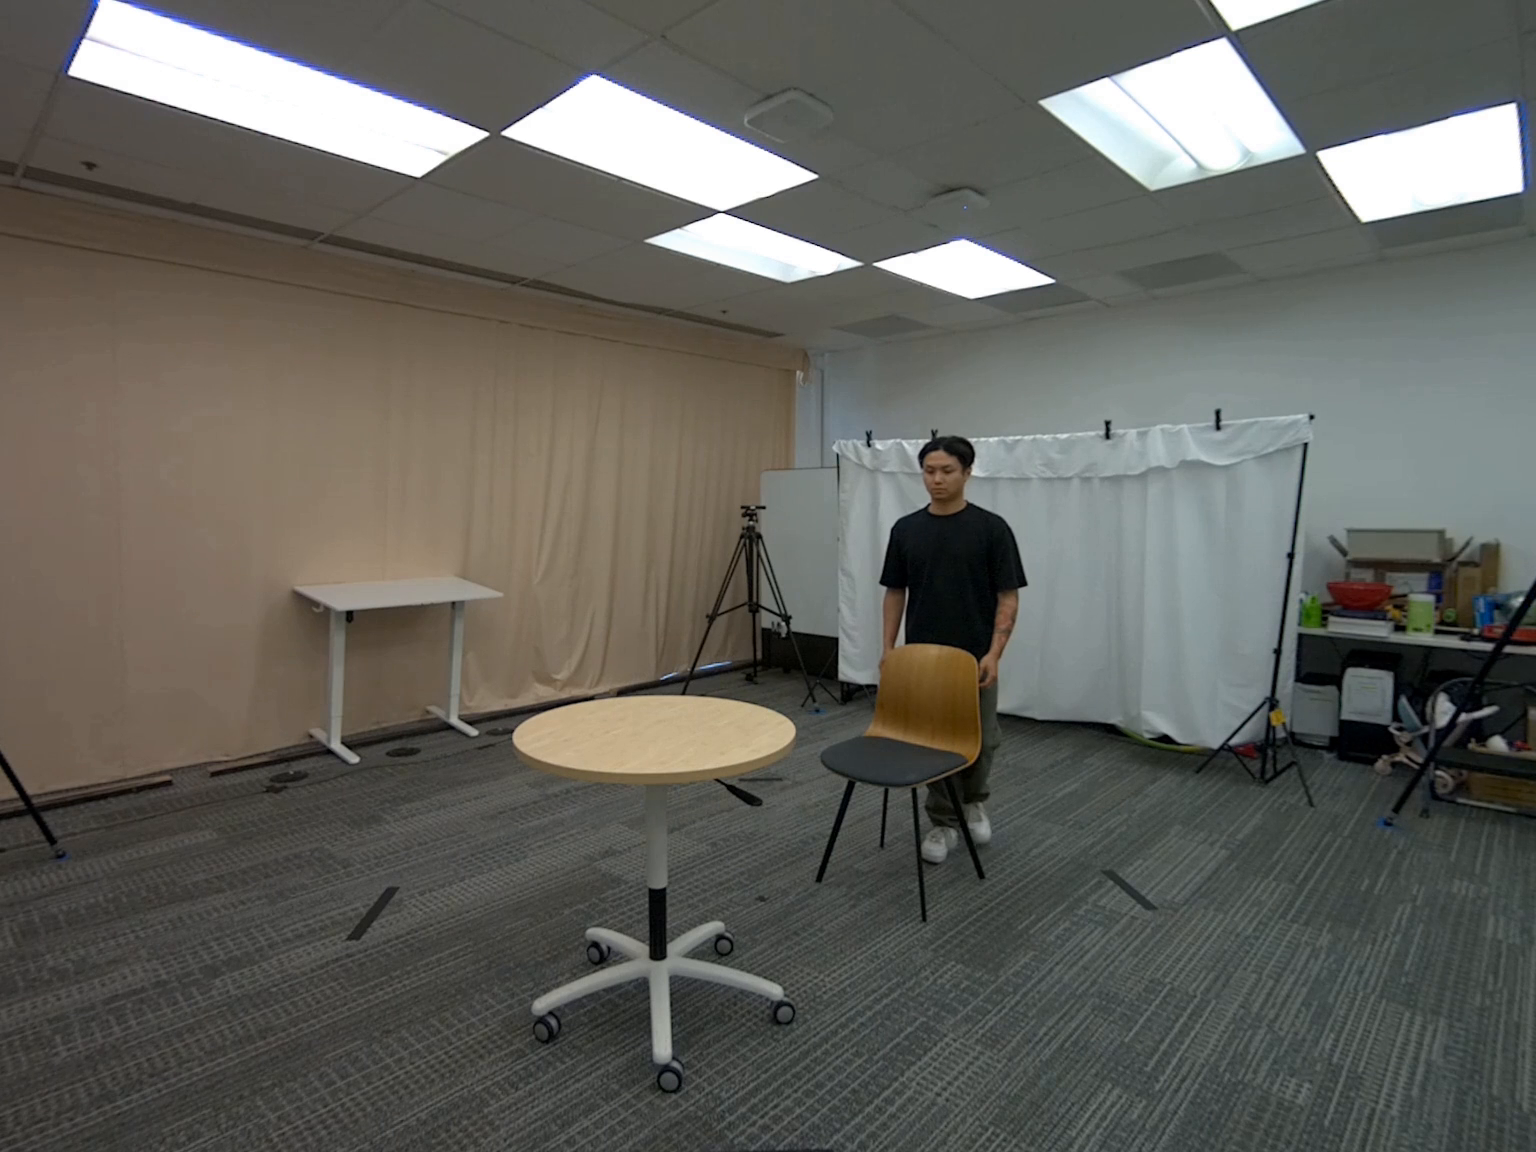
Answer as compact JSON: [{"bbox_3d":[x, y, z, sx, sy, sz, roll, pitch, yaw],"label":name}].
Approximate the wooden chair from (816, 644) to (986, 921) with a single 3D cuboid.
[{"bbox_3d":[0.489,0.704,3.087,0.494,0.877,0.506,4,0,41],"label":"wooden chair"}]
